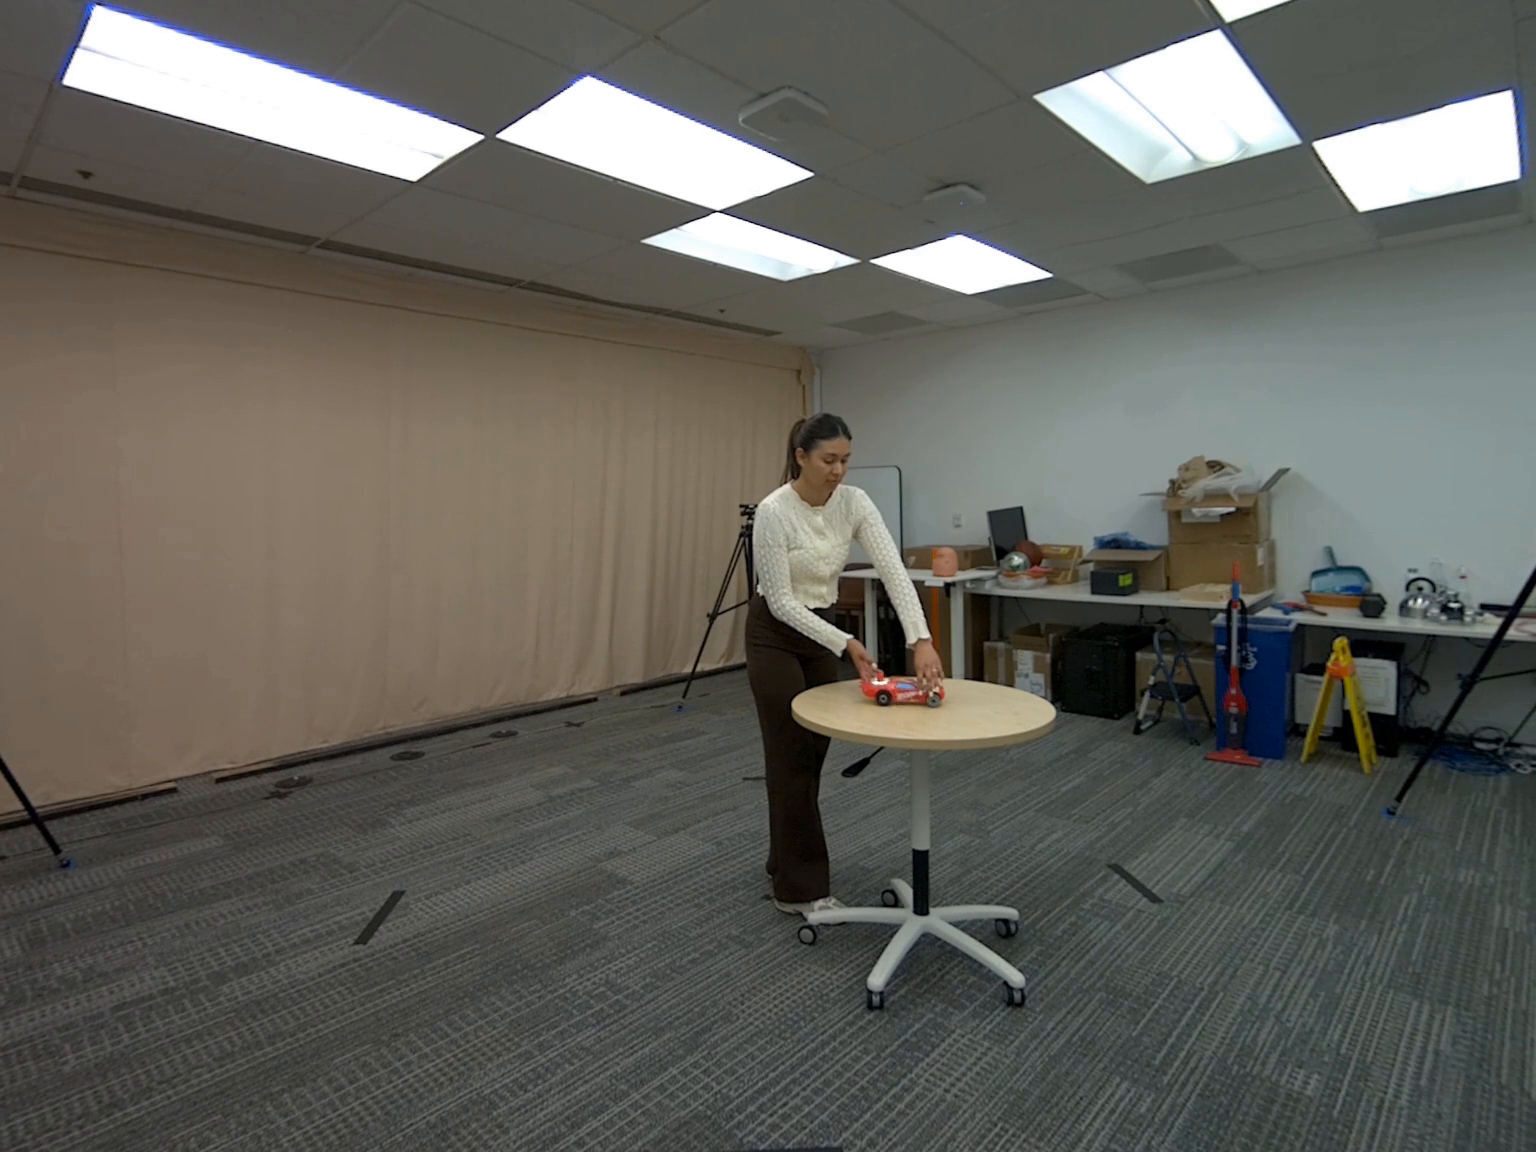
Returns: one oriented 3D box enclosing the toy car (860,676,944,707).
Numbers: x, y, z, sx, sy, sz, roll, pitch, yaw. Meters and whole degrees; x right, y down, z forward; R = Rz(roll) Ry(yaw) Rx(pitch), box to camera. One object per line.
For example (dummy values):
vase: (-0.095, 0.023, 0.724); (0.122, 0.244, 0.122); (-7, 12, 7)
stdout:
toy car: (0.411, 0.356, 2.549); (0.258, 0.083, 0.129); (11, 5, 10)
